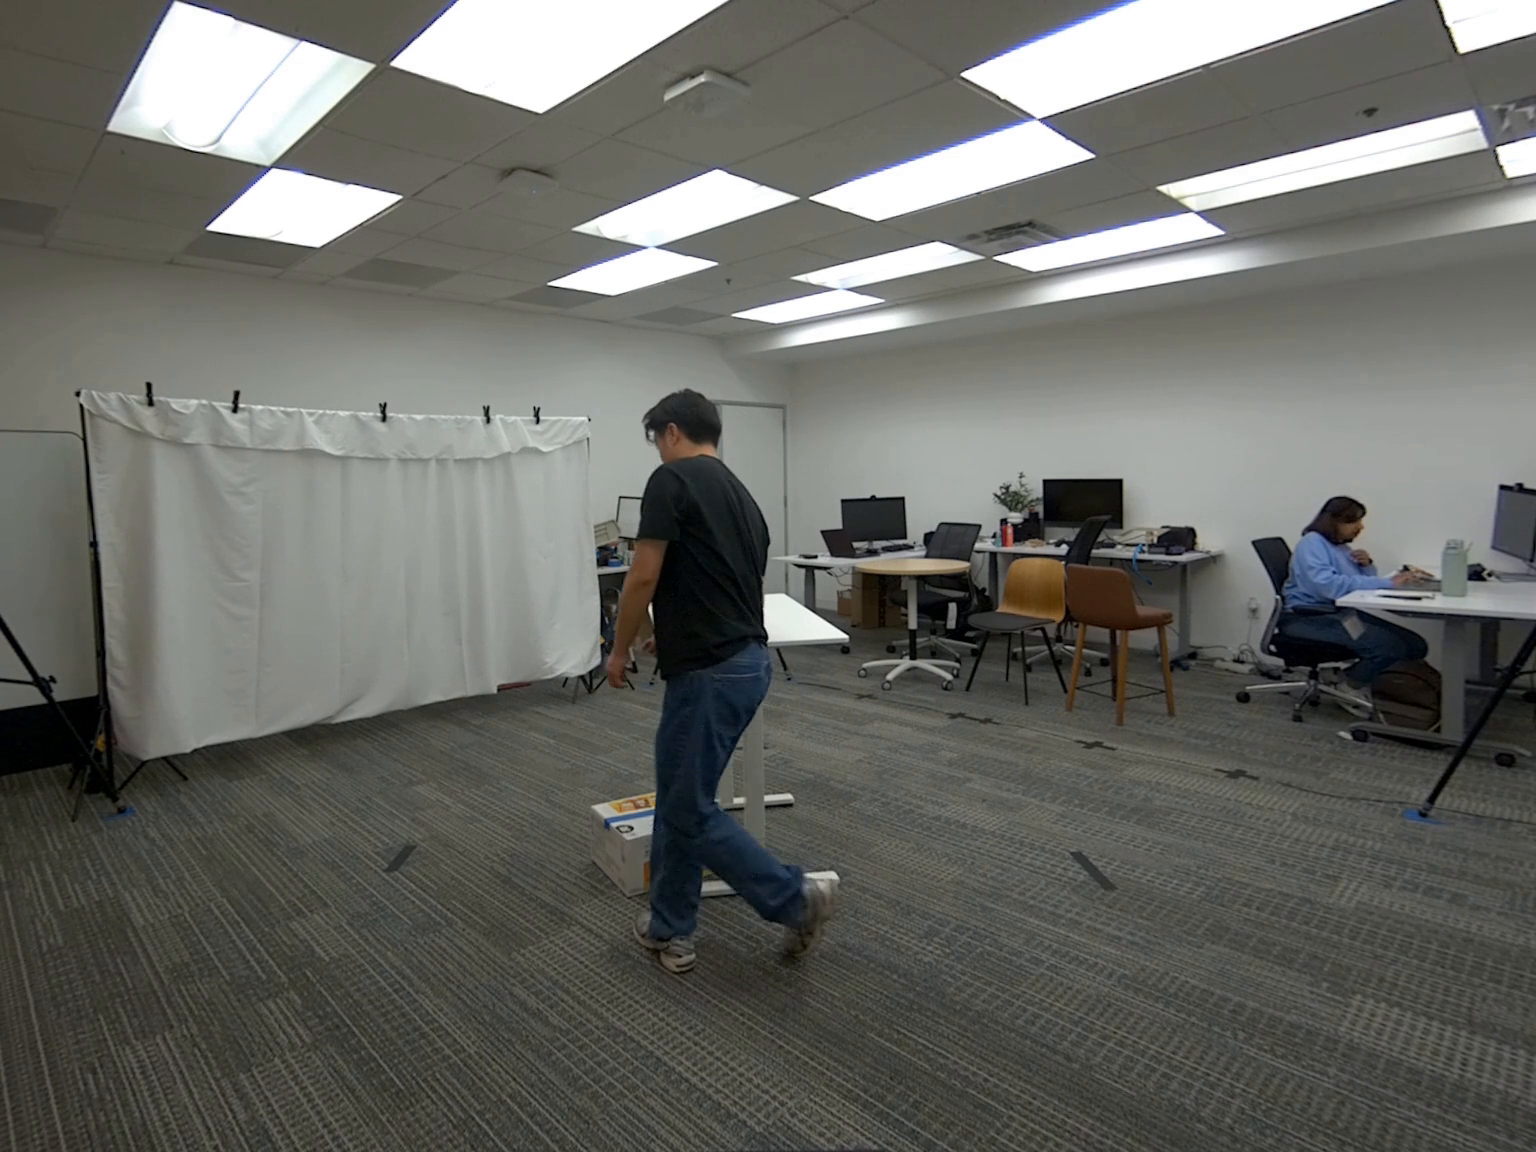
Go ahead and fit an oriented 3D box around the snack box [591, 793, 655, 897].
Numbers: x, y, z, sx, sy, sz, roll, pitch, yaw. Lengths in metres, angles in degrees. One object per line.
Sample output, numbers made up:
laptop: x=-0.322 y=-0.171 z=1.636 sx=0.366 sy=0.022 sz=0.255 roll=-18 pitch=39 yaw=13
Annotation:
snack box: x=-0.391 y=0.948 z=3.091 sx=0.395 sy=0.205 sz=0.350 roll=-4 pitch=7 yaw=-31
